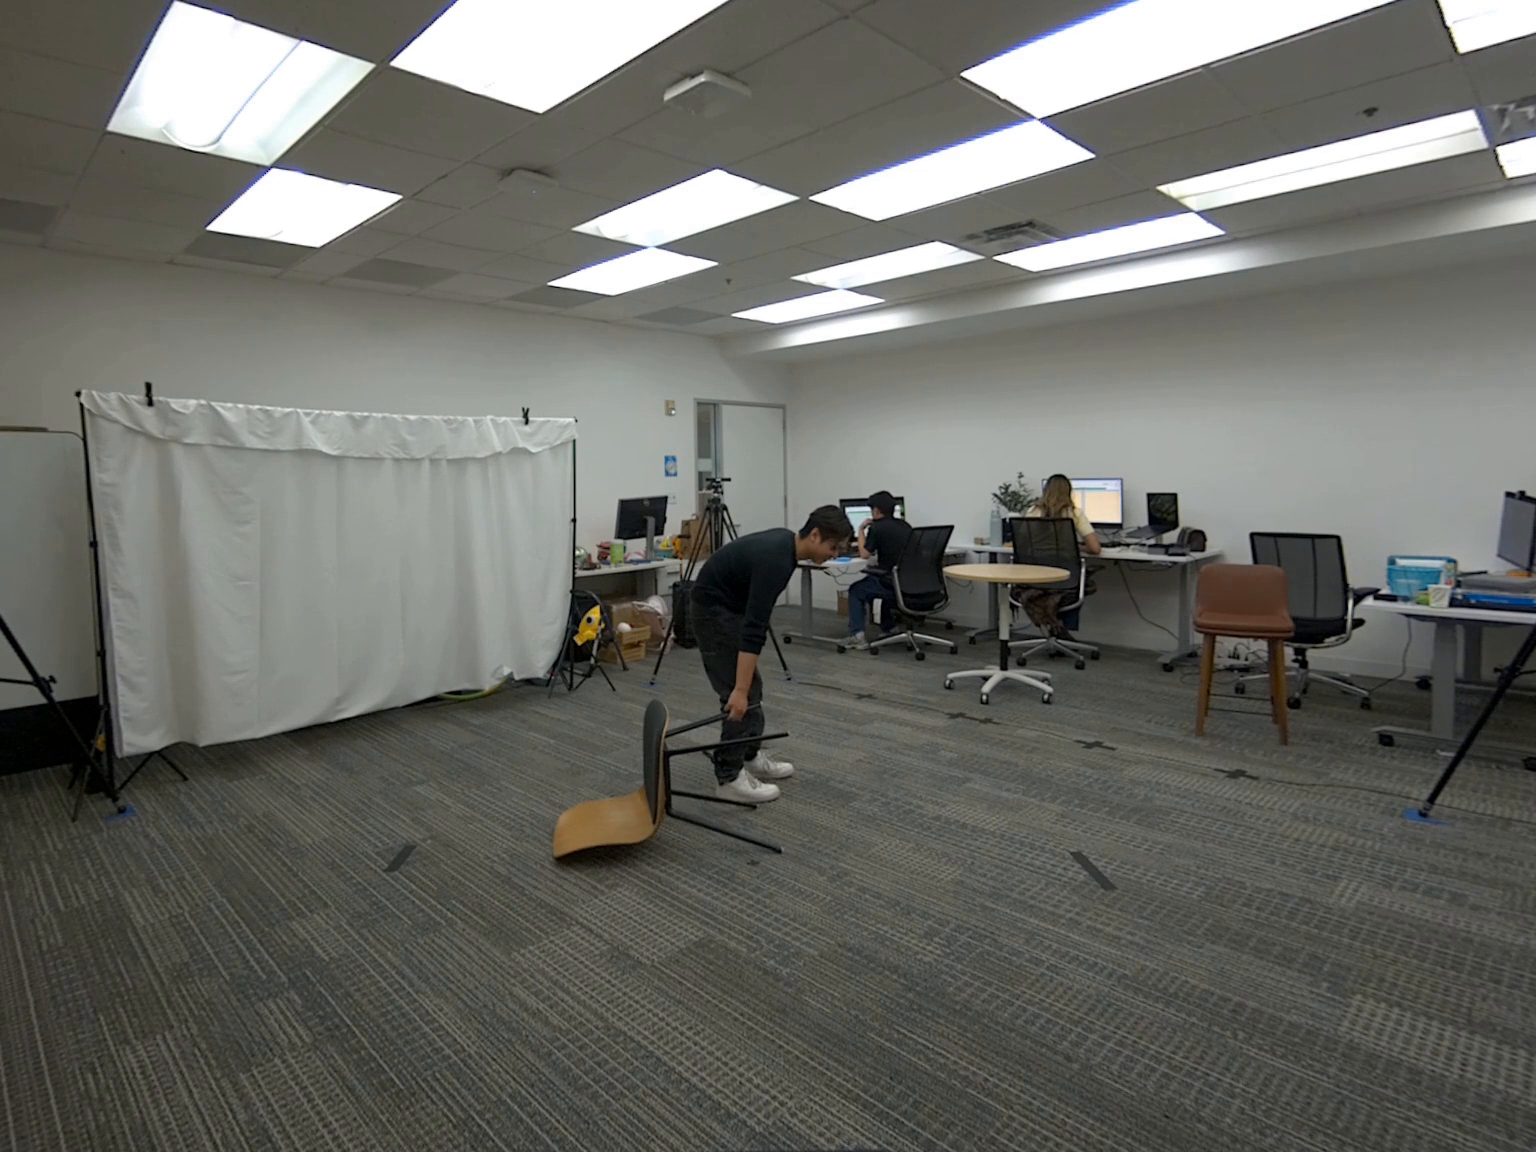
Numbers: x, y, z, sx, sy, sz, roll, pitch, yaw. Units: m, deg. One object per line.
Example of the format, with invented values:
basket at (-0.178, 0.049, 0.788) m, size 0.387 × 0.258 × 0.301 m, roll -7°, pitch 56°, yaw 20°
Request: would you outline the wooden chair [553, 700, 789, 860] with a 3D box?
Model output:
wooden chair at (-0.403, 0.765, 3.314) m, size 0.869 × 0.521 × 0.485 m, roll -4°, pitch 5°, yaw -11°
